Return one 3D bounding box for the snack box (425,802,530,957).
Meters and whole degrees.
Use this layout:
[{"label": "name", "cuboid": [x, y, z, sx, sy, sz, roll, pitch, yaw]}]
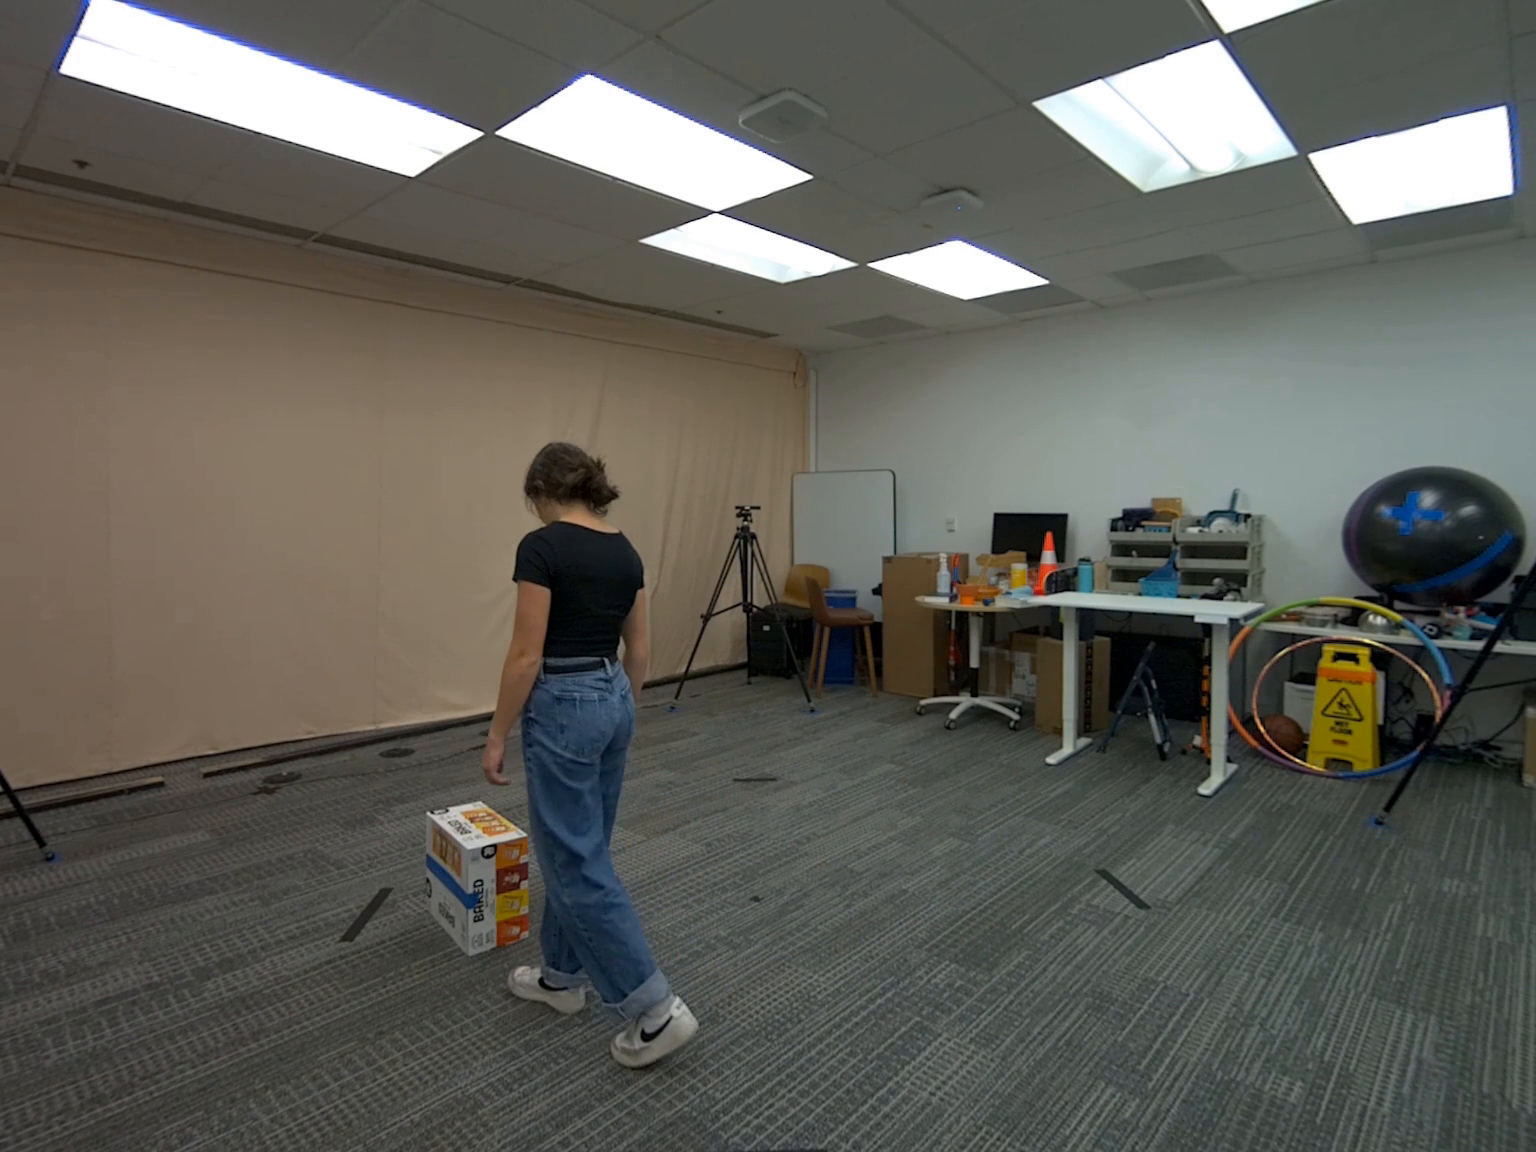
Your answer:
[{"label": "snack box", "cuboid": [-0.982, 0.997, 2.818, 0.199, 0.340, 0.418, -1, 3, -39]}]
